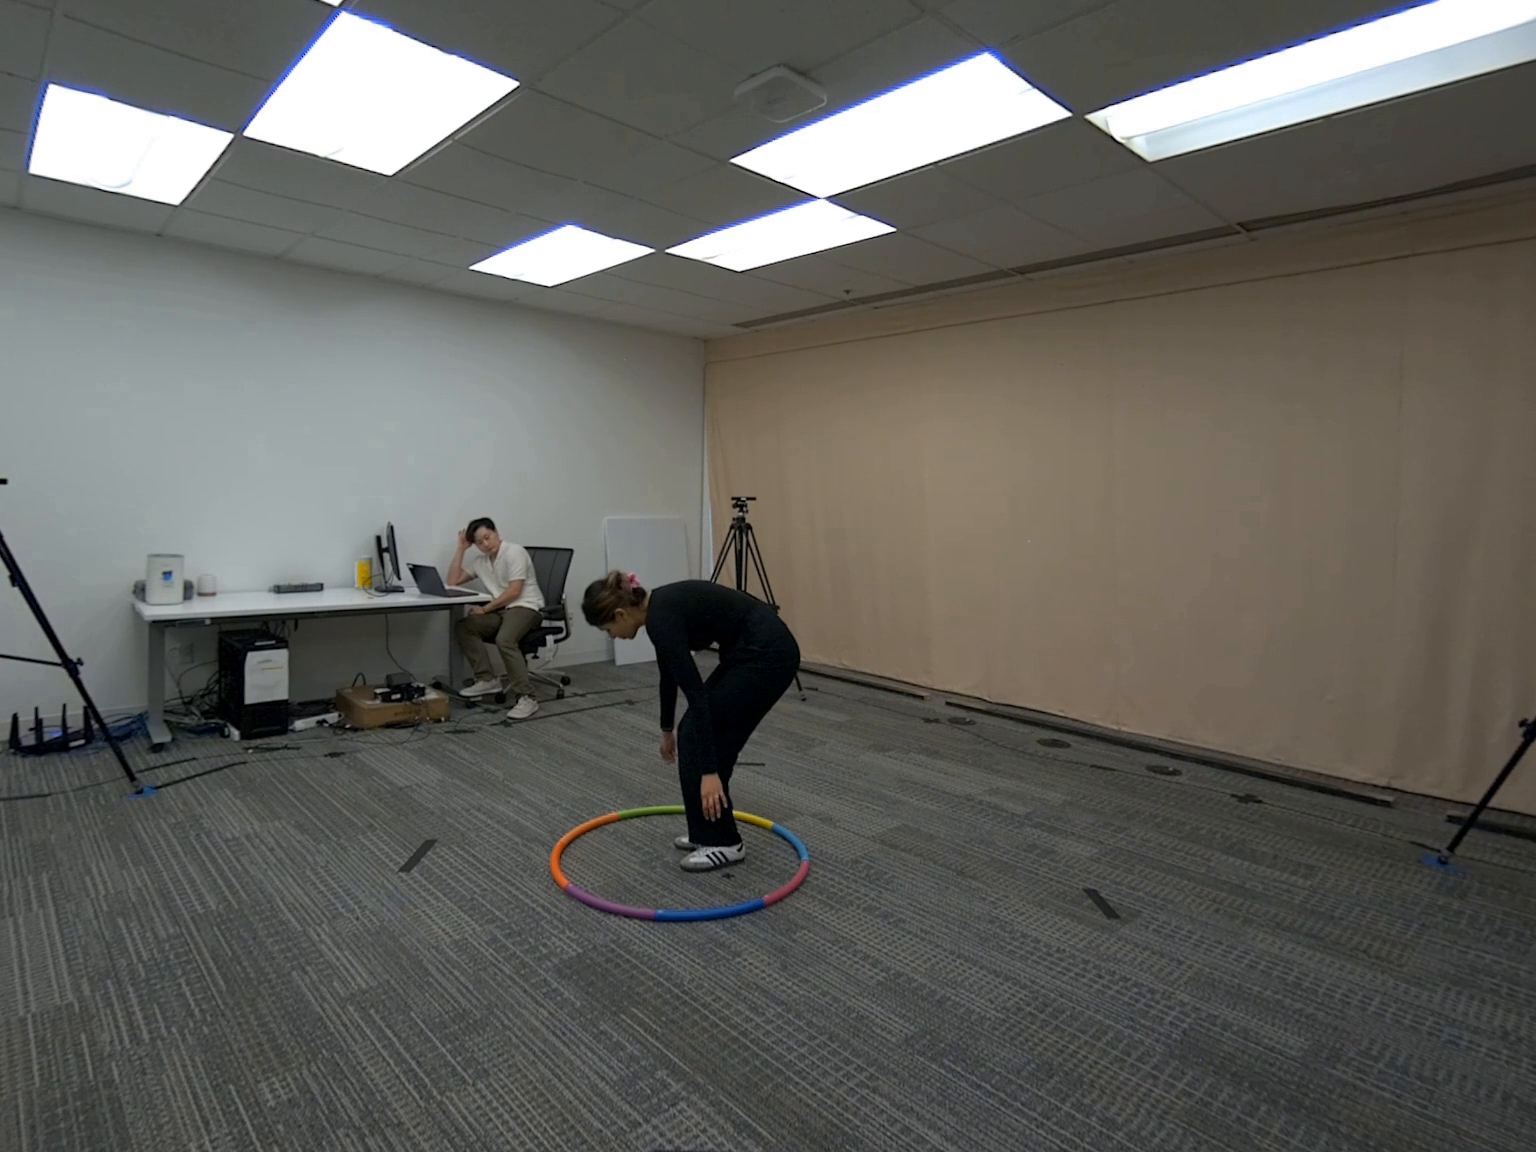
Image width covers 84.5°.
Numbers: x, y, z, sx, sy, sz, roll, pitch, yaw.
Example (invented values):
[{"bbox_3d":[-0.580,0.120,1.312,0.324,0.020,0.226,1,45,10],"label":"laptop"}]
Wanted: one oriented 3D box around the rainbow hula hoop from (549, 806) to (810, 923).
[{"bbox_3d":[-0.338,1.062,3.239,0.978,0.035,0.982,2,5,-1],"label":"rainbow hula hoop"}]
